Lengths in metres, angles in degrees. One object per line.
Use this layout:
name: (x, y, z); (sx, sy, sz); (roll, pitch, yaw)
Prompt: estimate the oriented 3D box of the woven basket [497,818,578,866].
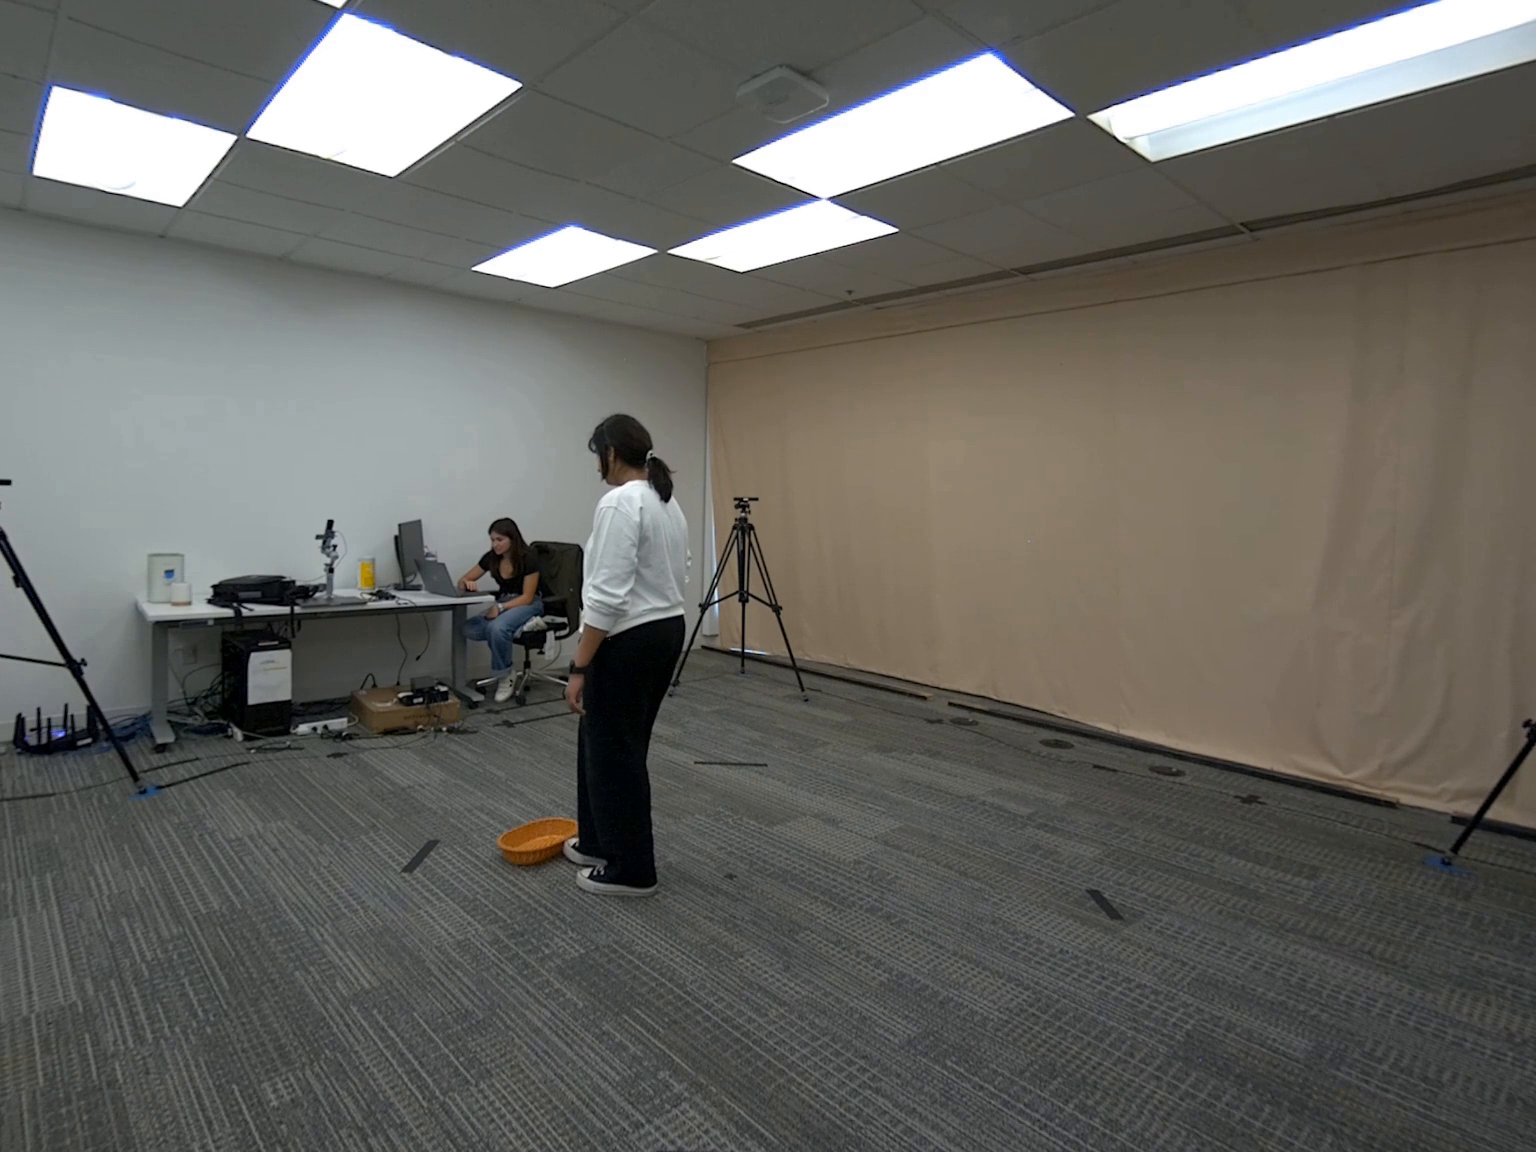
woven basket: (-0.895, 1.035, 3.273); (0.258, 0.073, 0.343); (2, 5, 34)
